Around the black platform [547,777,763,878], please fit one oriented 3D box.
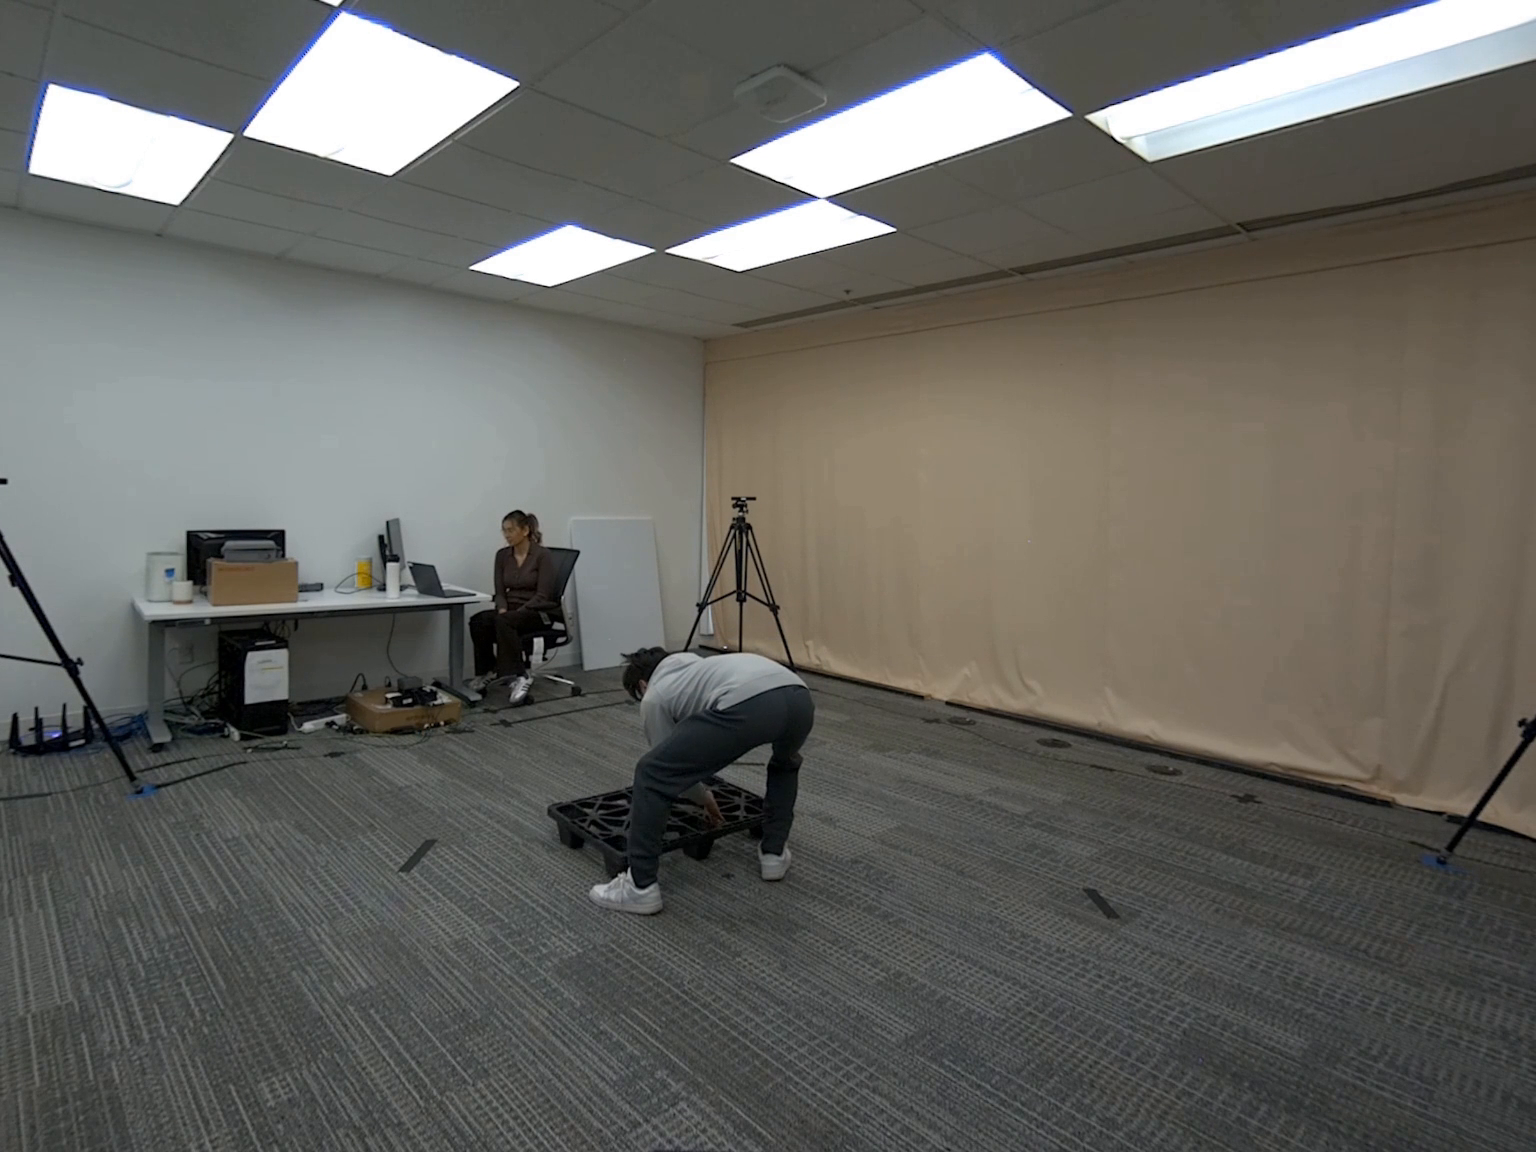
[{"bbox_3d":[-0.405,1.005,3.421,0.788,0.143,0.620,-3,7,-39],"label":"black platform"}]
